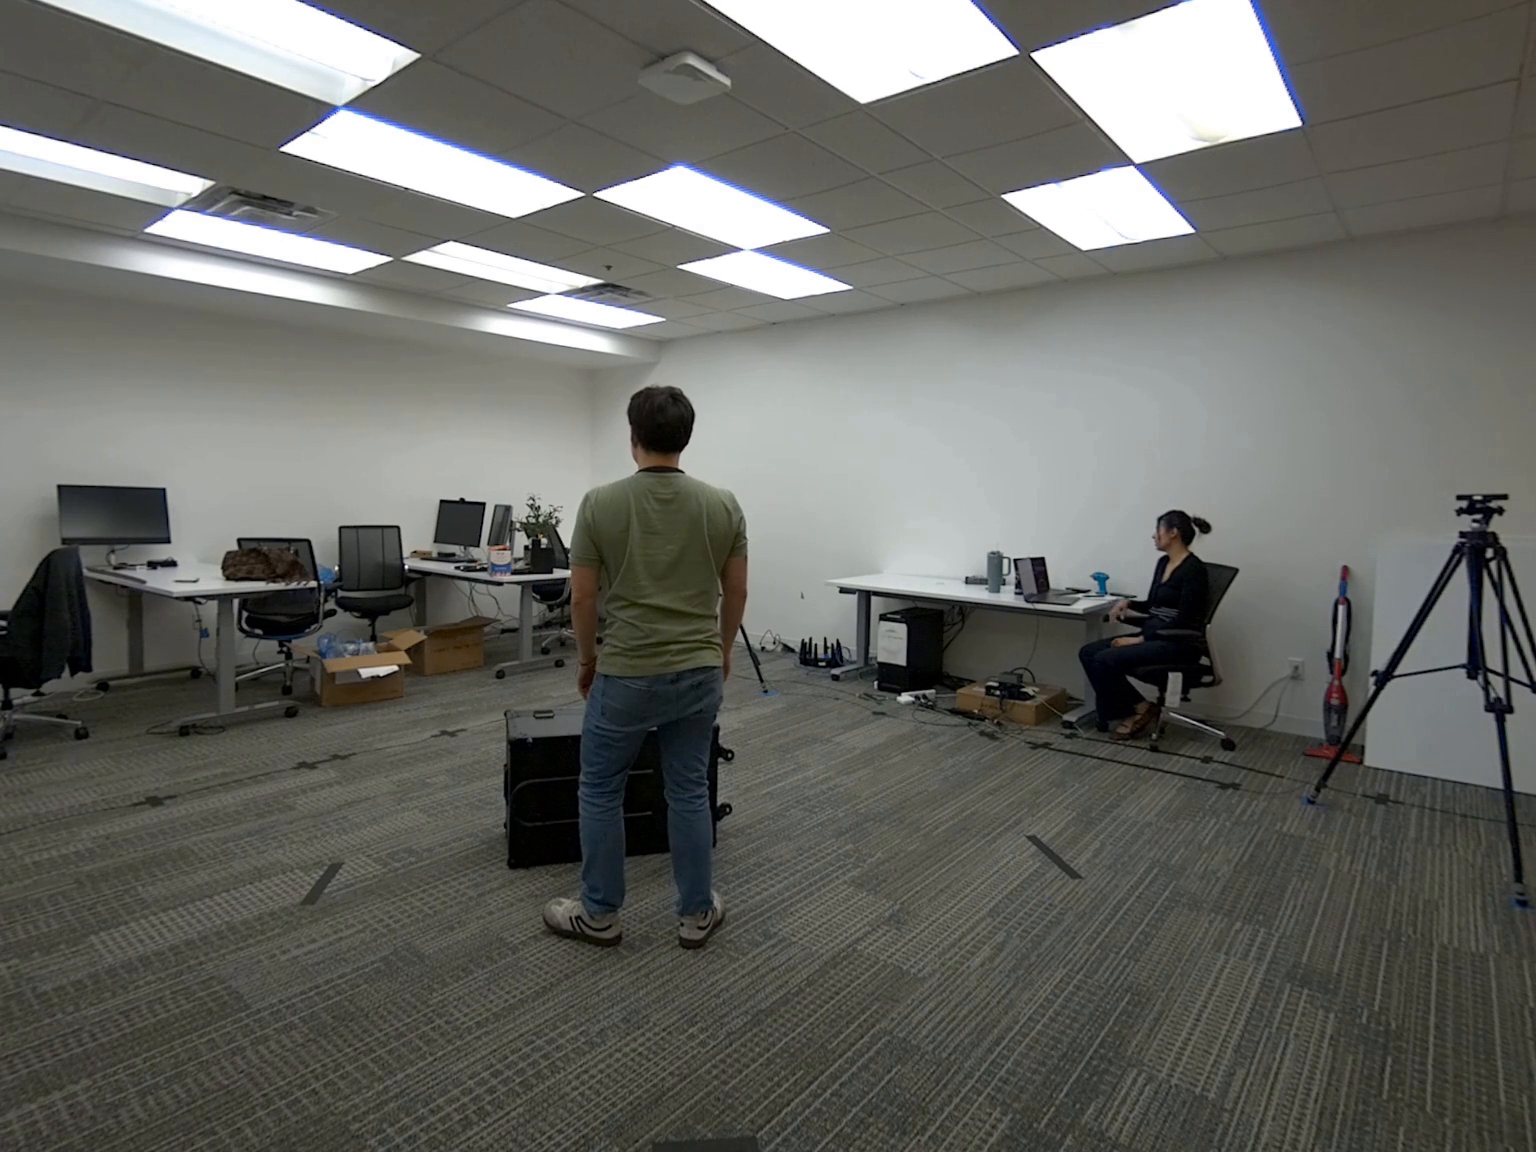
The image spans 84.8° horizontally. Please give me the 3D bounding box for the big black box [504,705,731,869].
[{"bbox_3d":[-0.596,0.782,3.317,0.847,0.518,0.405,-1,6,-17],"label":"big black box"}]
